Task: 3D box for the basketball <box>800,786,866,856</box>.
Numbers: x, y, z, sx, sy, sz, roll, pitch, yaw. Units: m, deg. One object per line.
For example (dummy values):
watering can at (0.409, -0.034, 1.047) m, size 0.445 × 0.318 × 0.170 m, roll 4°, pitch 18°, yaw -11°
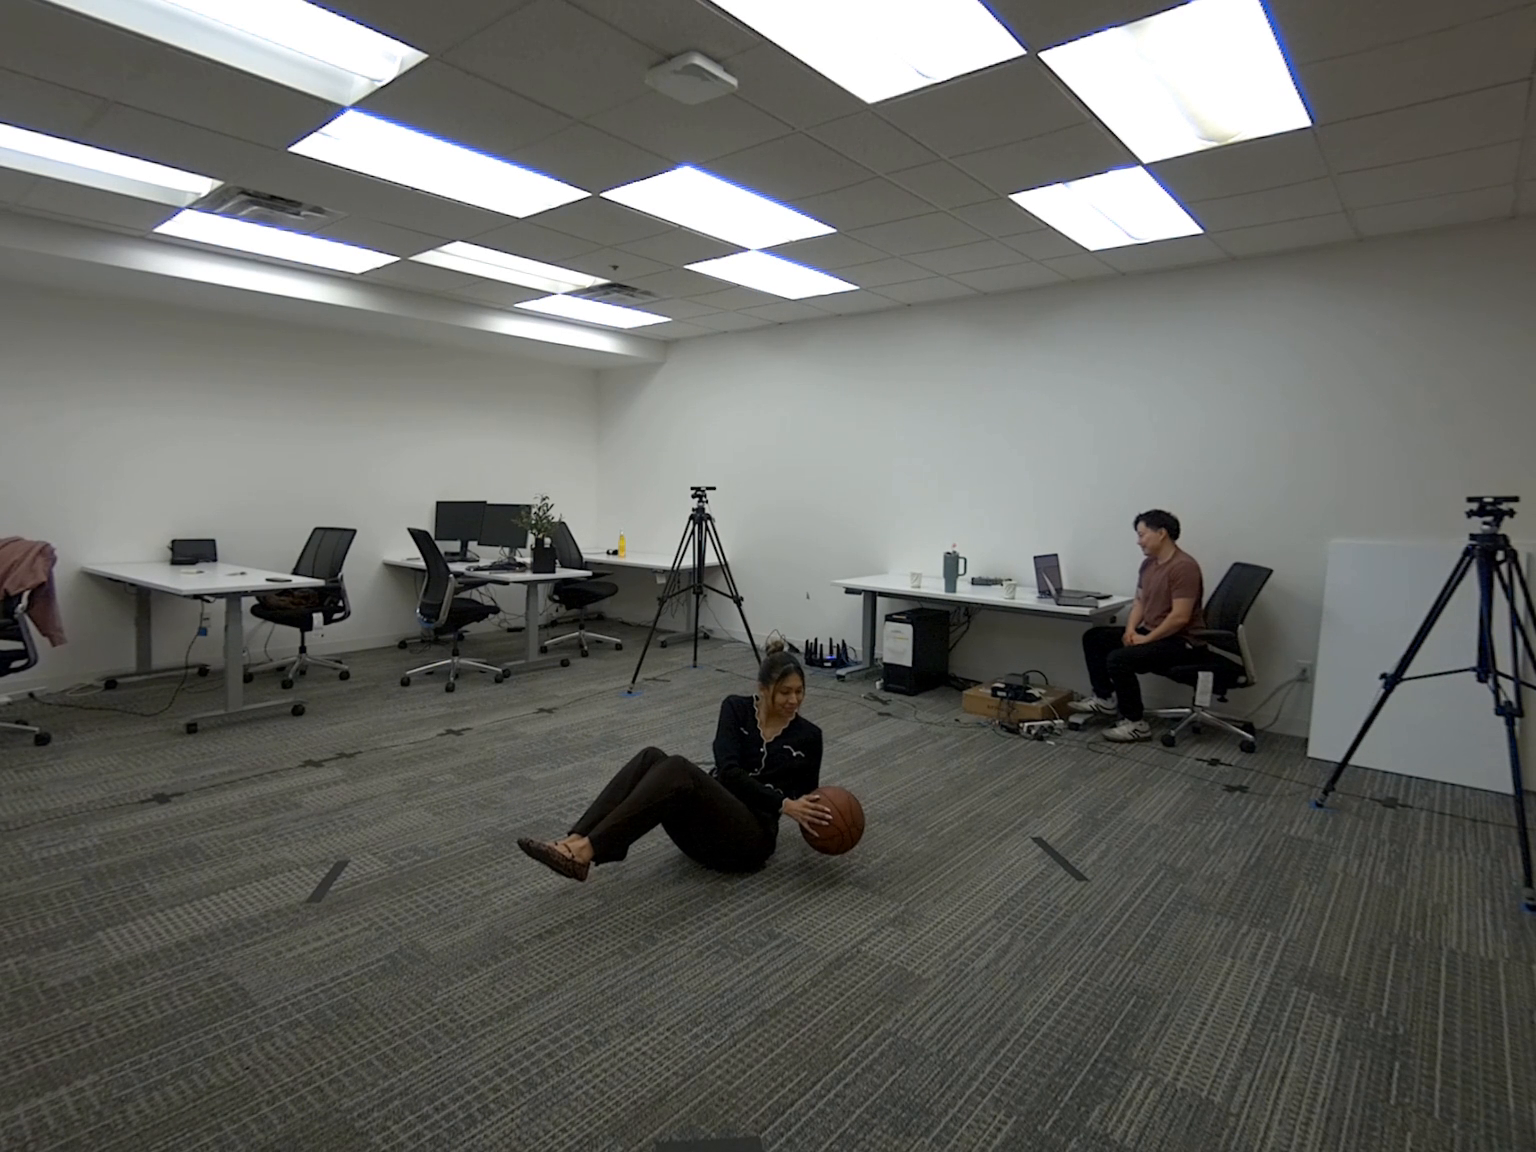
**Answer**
basketball at (0.209, 0.856, 3.041) m, size 0.235 × 0.235 × 0.237 m, roll 1°, pitch 4°, yaw -2°
